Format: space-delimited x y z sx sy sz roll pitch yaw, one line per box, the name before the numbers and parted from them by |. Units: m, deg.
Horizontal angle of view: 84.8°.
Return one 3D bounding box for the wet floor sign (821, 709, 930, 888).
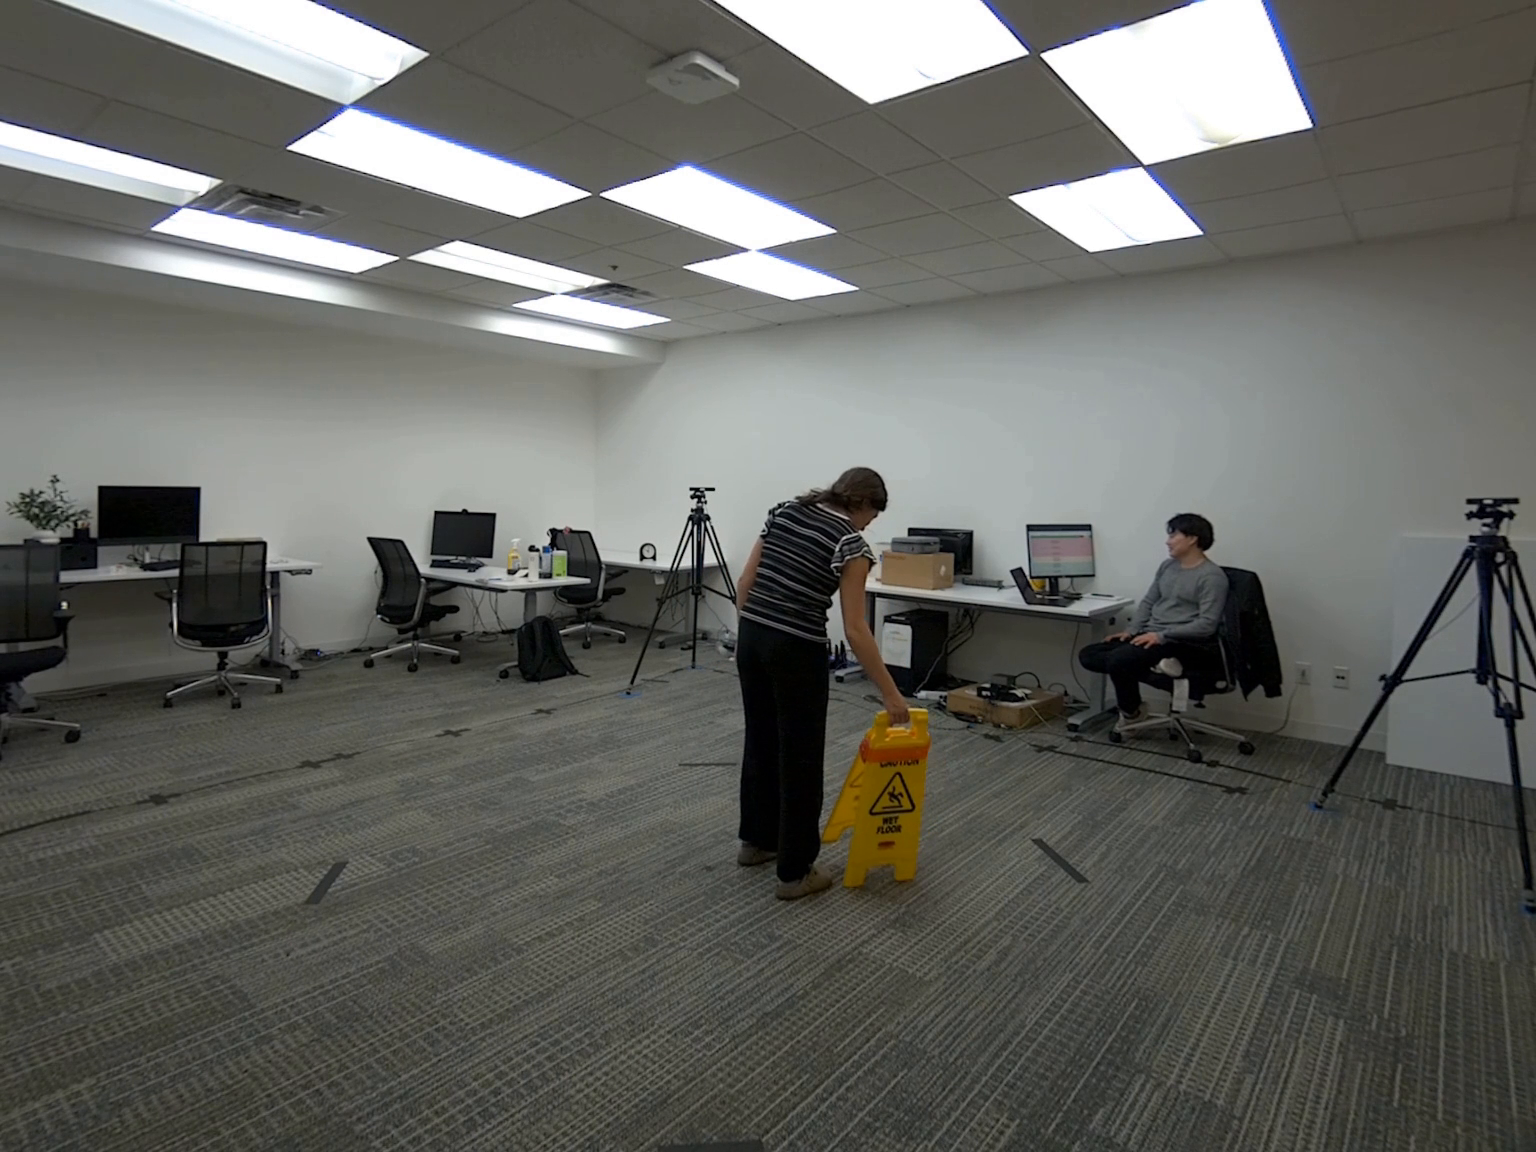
wet floor sign | 0.401 0.756 2.995 0.277 0.635 0.300 0 24 -21
